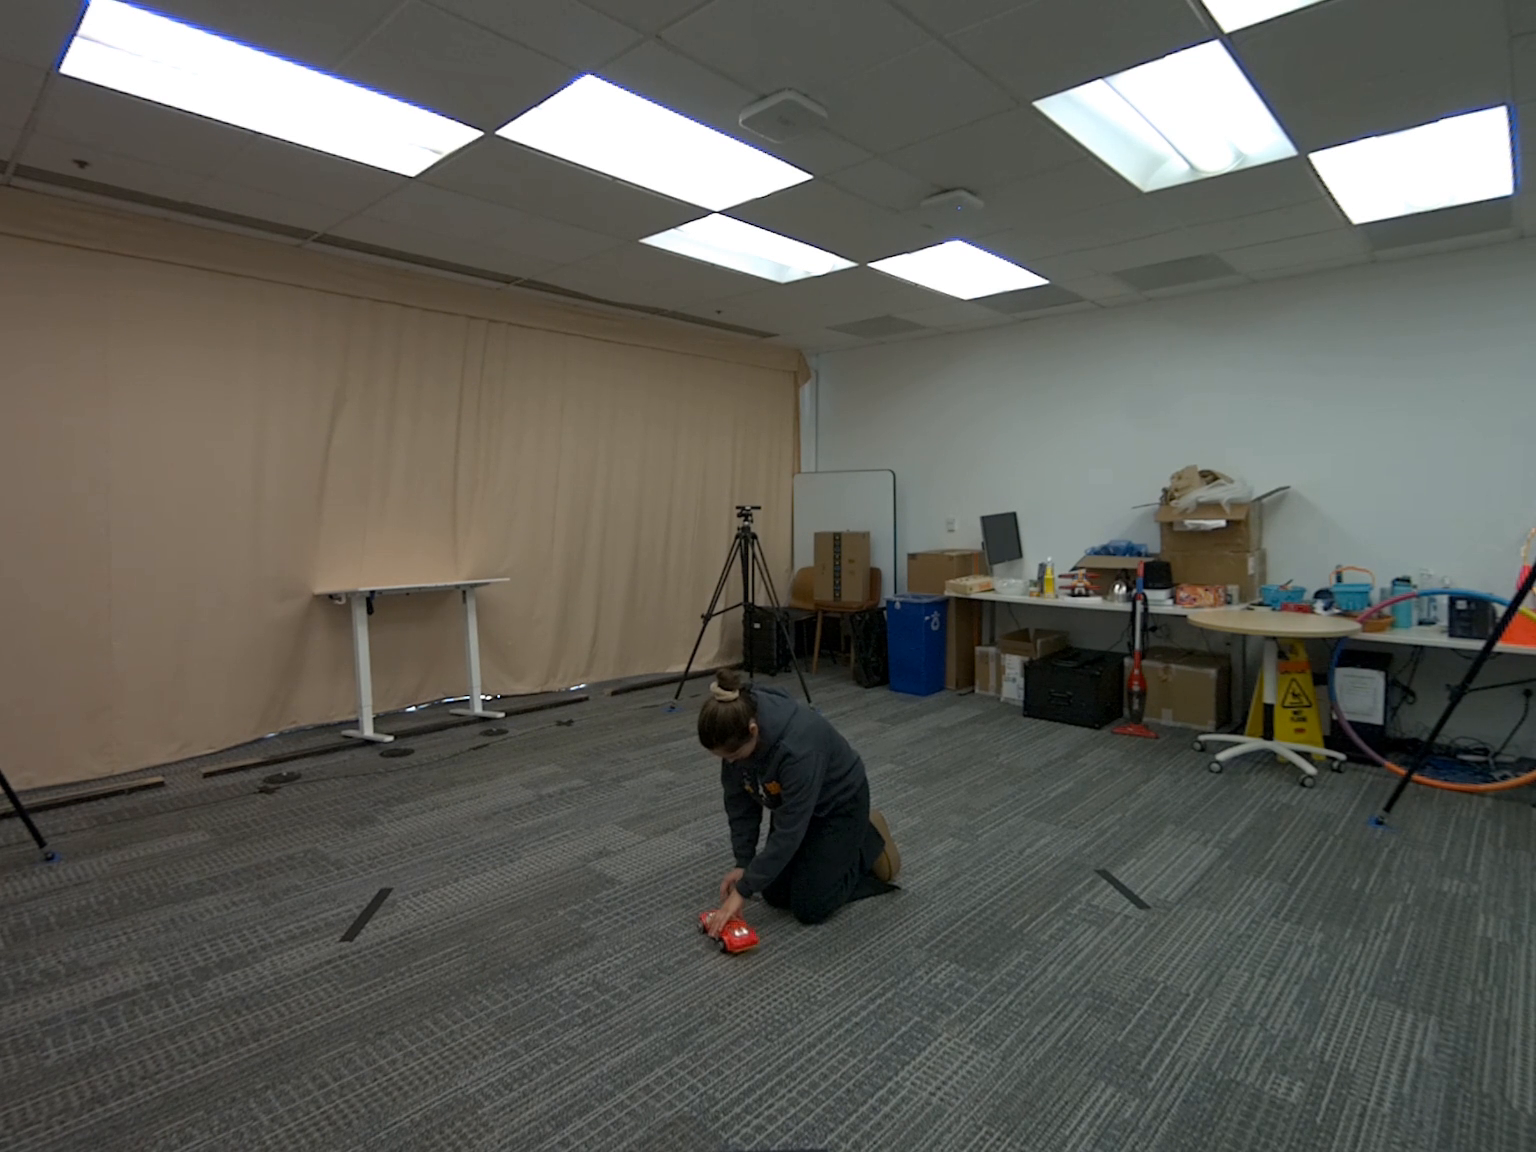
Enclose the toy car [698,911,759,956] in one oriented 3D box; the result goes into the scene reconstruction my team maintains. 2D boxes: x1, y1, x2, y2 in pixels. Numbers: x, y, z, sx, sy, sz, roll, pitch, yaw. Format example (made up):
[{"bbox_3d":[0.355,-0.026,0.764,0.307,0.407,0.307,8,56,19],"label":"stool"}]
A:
[{"bbox_3d":[-0.103,1.137,2.692,0.127,0.083,0.260,-2,-5,-28],"label":"toy car"}]
